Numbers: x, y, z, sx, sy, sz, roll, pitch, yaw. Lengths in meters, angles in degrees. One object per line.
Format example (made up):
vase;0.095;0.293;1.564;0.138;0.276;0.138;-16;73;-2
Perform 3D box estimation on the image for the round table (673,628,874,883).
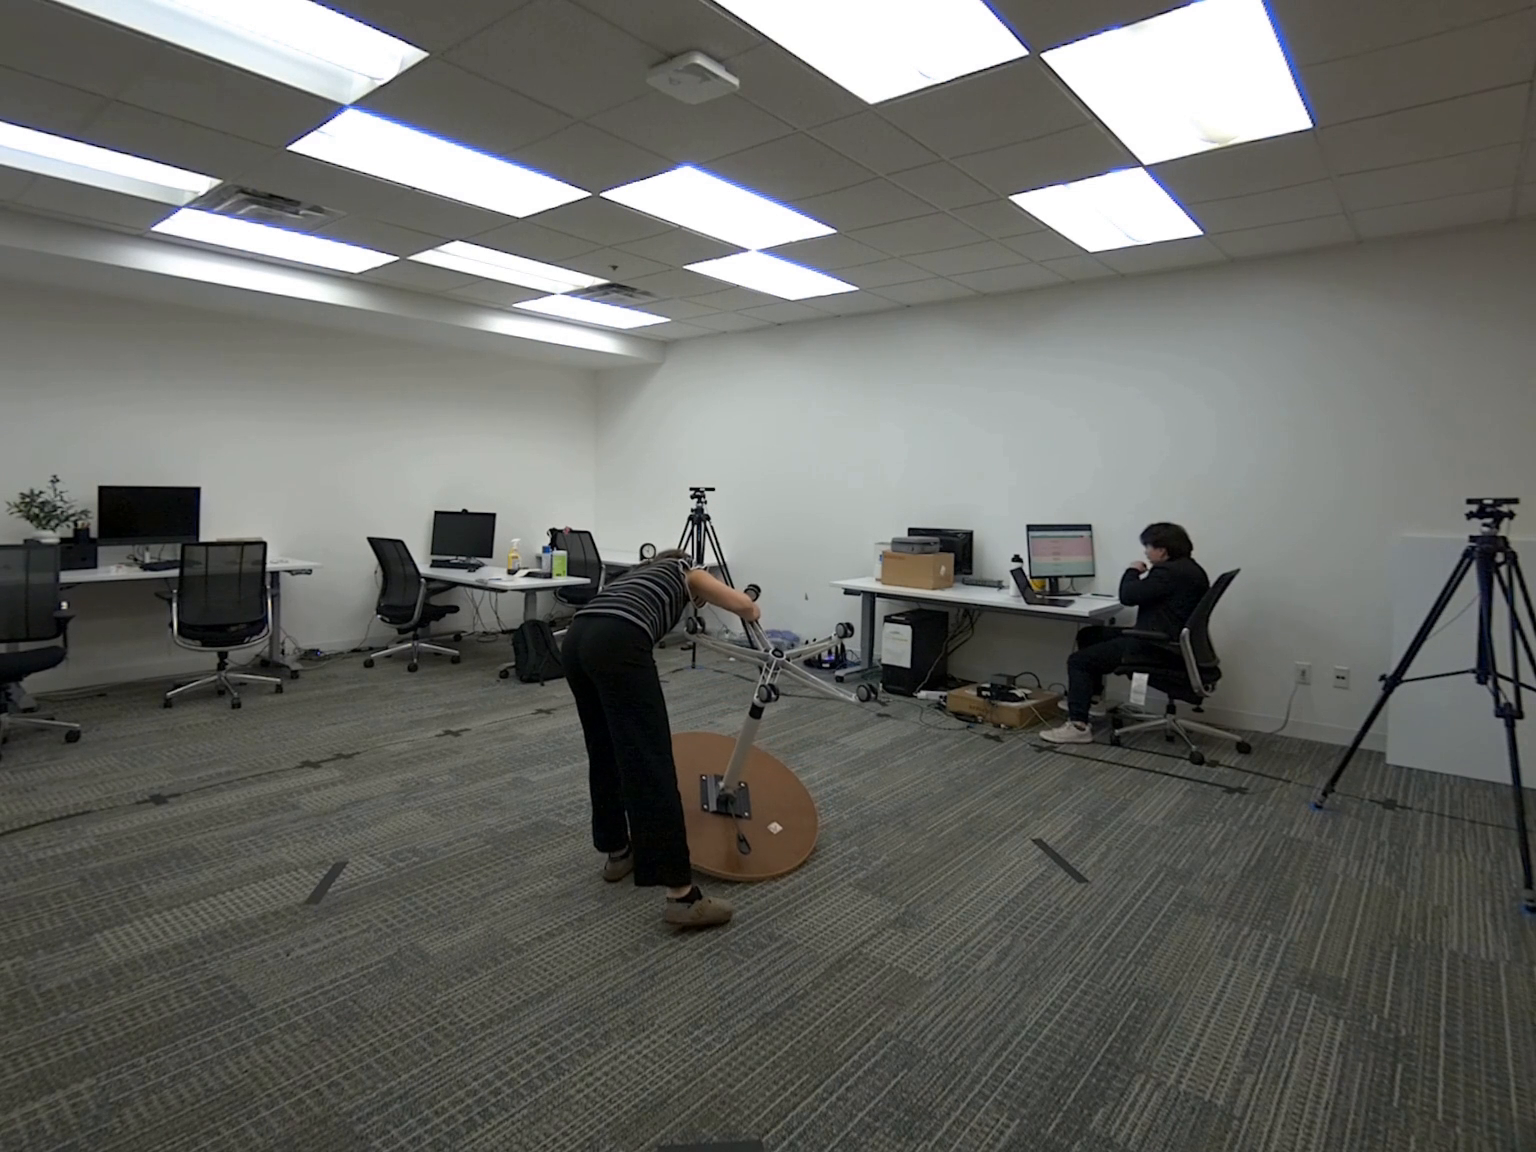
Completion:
round table;-0.070;0.543;3.171;0.756;0.784;0.782;15;25;-9
